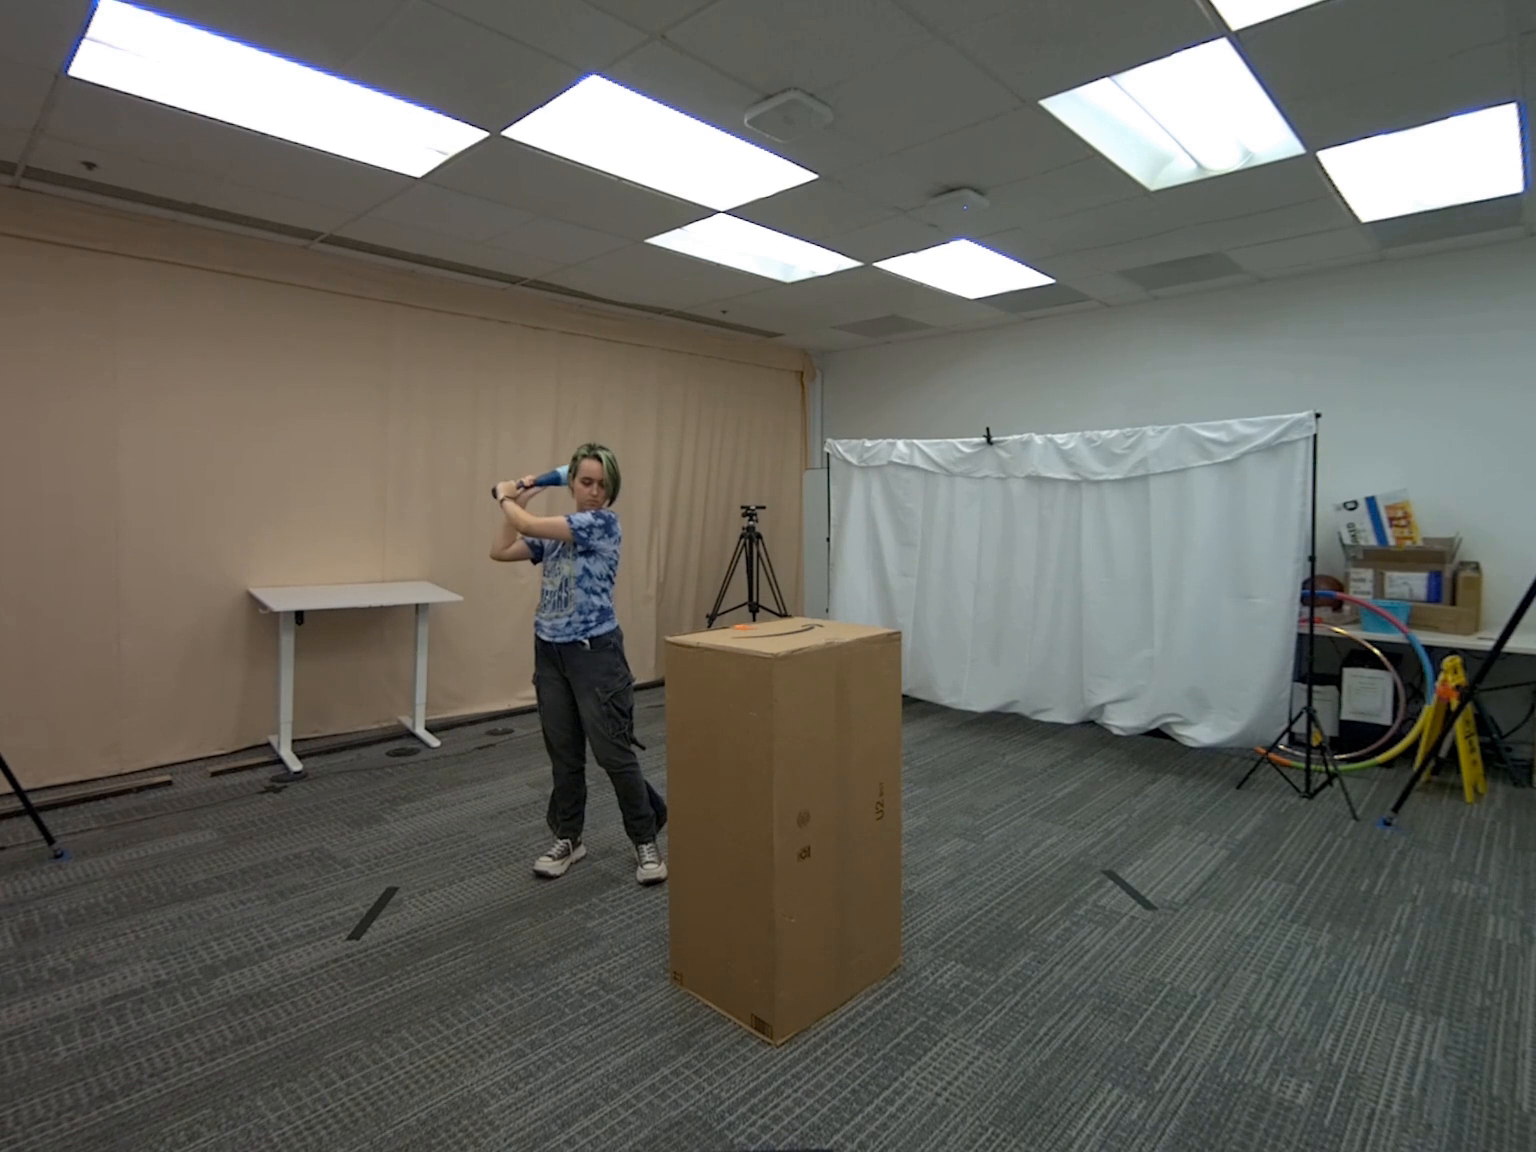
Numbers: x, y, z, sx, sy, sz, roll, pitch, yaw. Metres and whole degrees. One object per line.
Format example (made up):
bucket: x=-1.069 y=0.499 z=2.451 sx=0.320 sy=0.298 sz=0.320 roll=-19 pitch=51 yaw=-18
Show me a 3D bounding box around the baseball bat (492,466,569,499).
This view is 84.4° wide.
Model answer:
baseball bat: x=-0.871 y=-0.381 z=3.373 sx=0.092 sy=0.088 sz=0.531 roll=3 pitch=18 yaw=41
